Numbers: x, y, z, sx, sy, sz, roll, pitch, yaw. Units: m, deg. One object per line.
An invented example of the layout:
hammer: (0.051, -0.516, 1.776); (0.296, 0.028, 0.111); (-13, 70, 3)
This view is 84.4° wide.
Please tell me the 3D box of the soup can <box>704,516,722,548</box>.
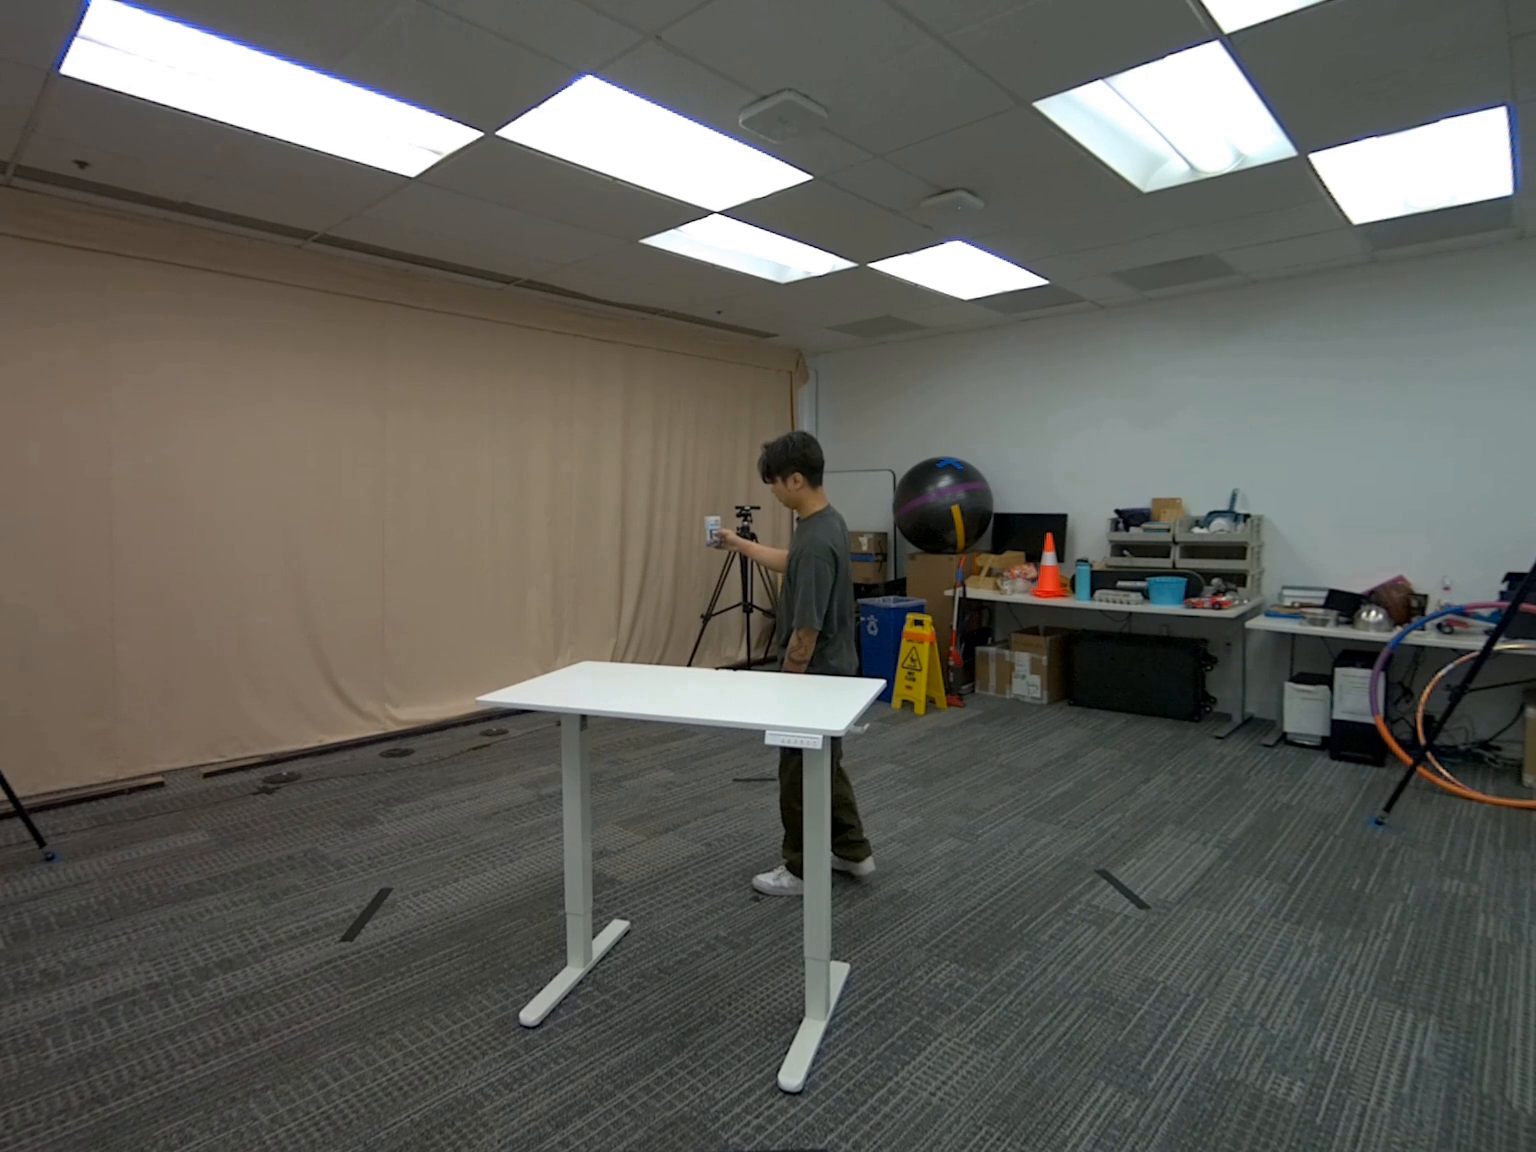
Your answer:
soup can: (-0.218, -0.180, 3.440); (0.067, 0.121, 0.067); (0, 1, -2)
